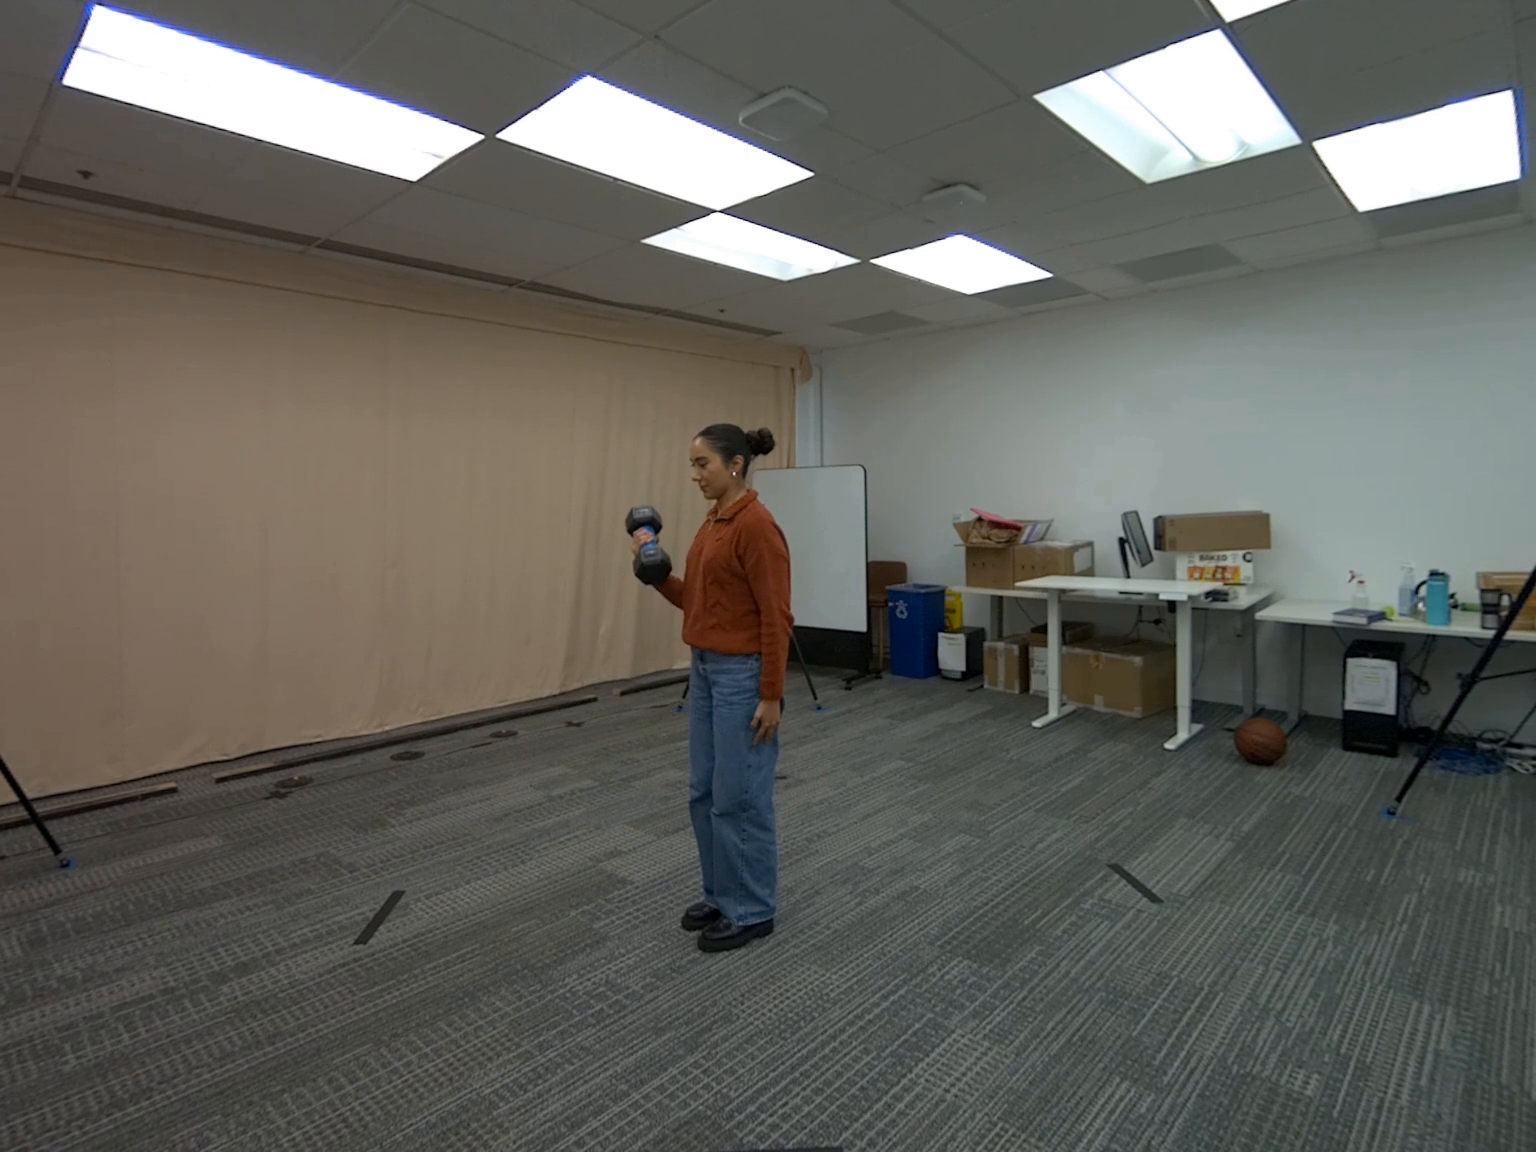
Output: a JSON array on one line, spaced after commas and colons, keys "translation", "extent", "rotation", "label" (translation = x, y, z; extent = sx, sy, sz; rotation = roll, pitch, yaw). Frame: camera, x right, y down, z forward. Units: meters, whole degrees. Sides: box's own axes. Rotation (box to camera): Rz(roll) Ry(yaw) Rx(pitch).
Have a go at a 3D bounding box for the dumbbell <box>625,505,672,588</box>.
[{"translation": [-0.387, -0.099, 2.763], "extent": [0.109, 0.302, 0.118], "rotation": [-35, -48, 15], "label": "dumbbell"}]
